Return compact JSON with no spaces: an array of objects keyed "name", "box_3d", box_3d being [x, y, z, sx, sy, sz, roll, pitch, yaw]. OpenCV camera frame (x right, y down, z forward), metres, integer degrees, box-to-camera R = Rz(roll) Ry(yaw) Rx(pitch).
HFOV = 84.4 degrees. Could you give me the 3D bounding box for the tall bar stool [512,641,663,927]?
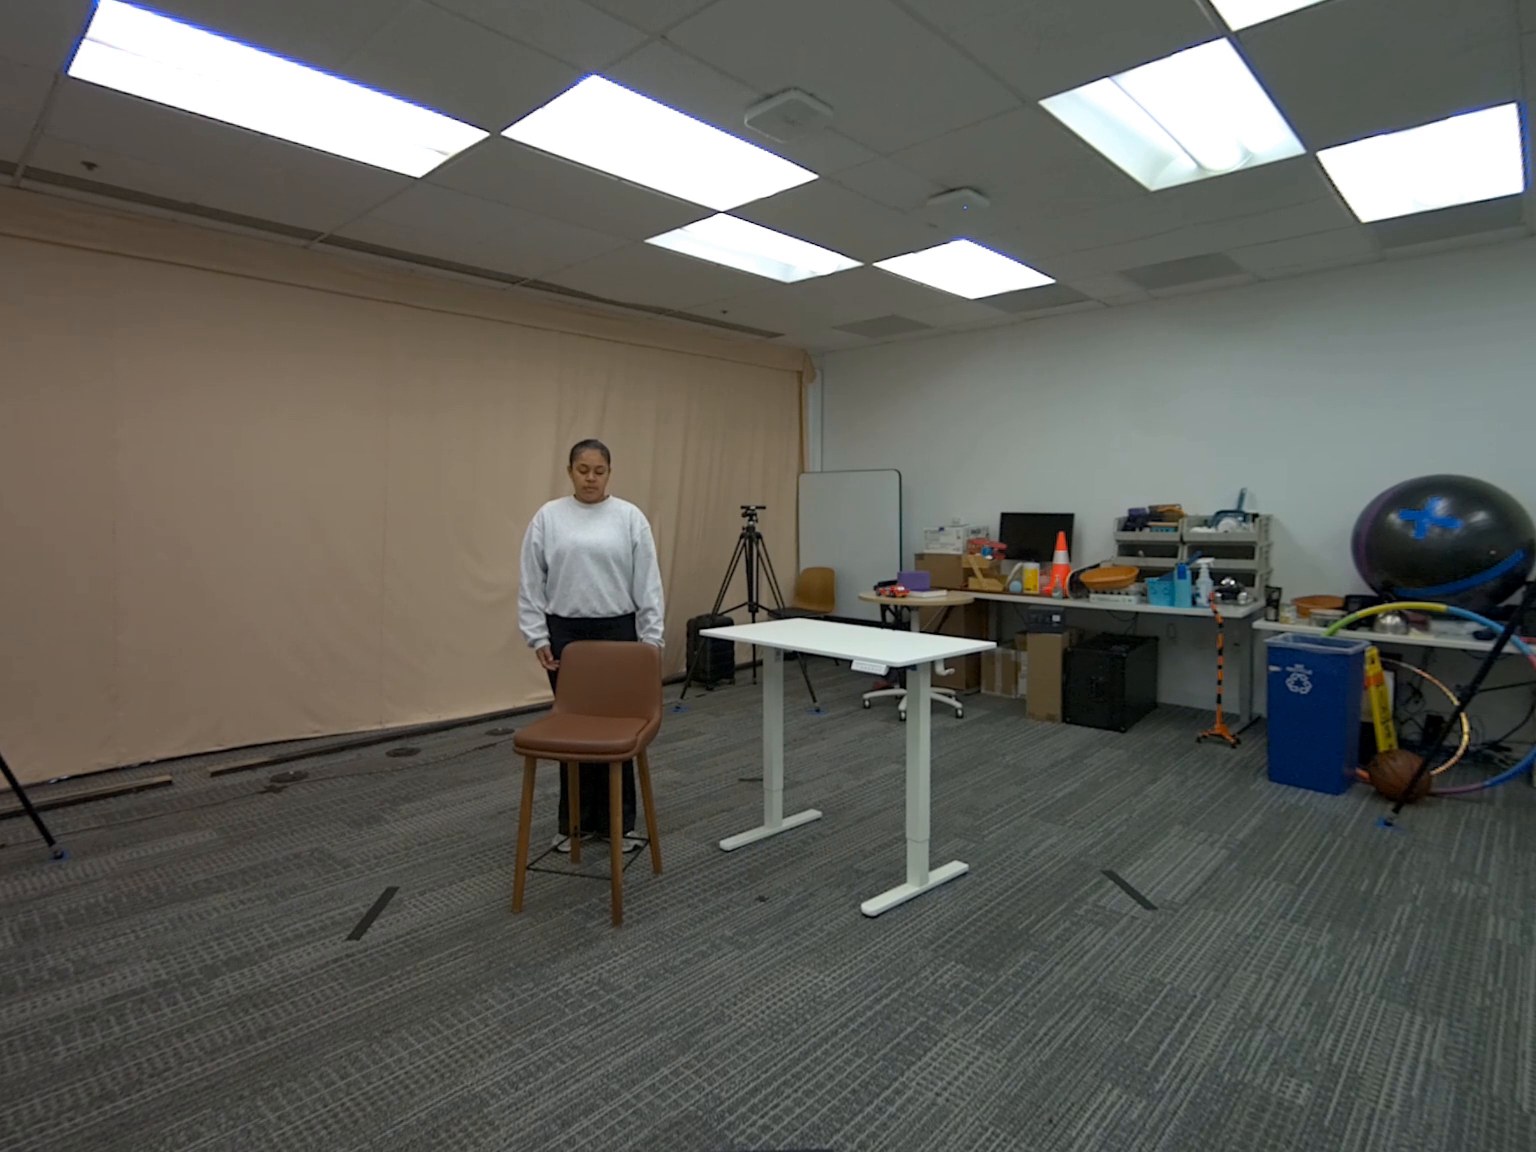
[{"name":"tall bar stool","box_3d":[-0.634,0.710,3.042,0.465,0.889,0.460,1,1,16]}]
